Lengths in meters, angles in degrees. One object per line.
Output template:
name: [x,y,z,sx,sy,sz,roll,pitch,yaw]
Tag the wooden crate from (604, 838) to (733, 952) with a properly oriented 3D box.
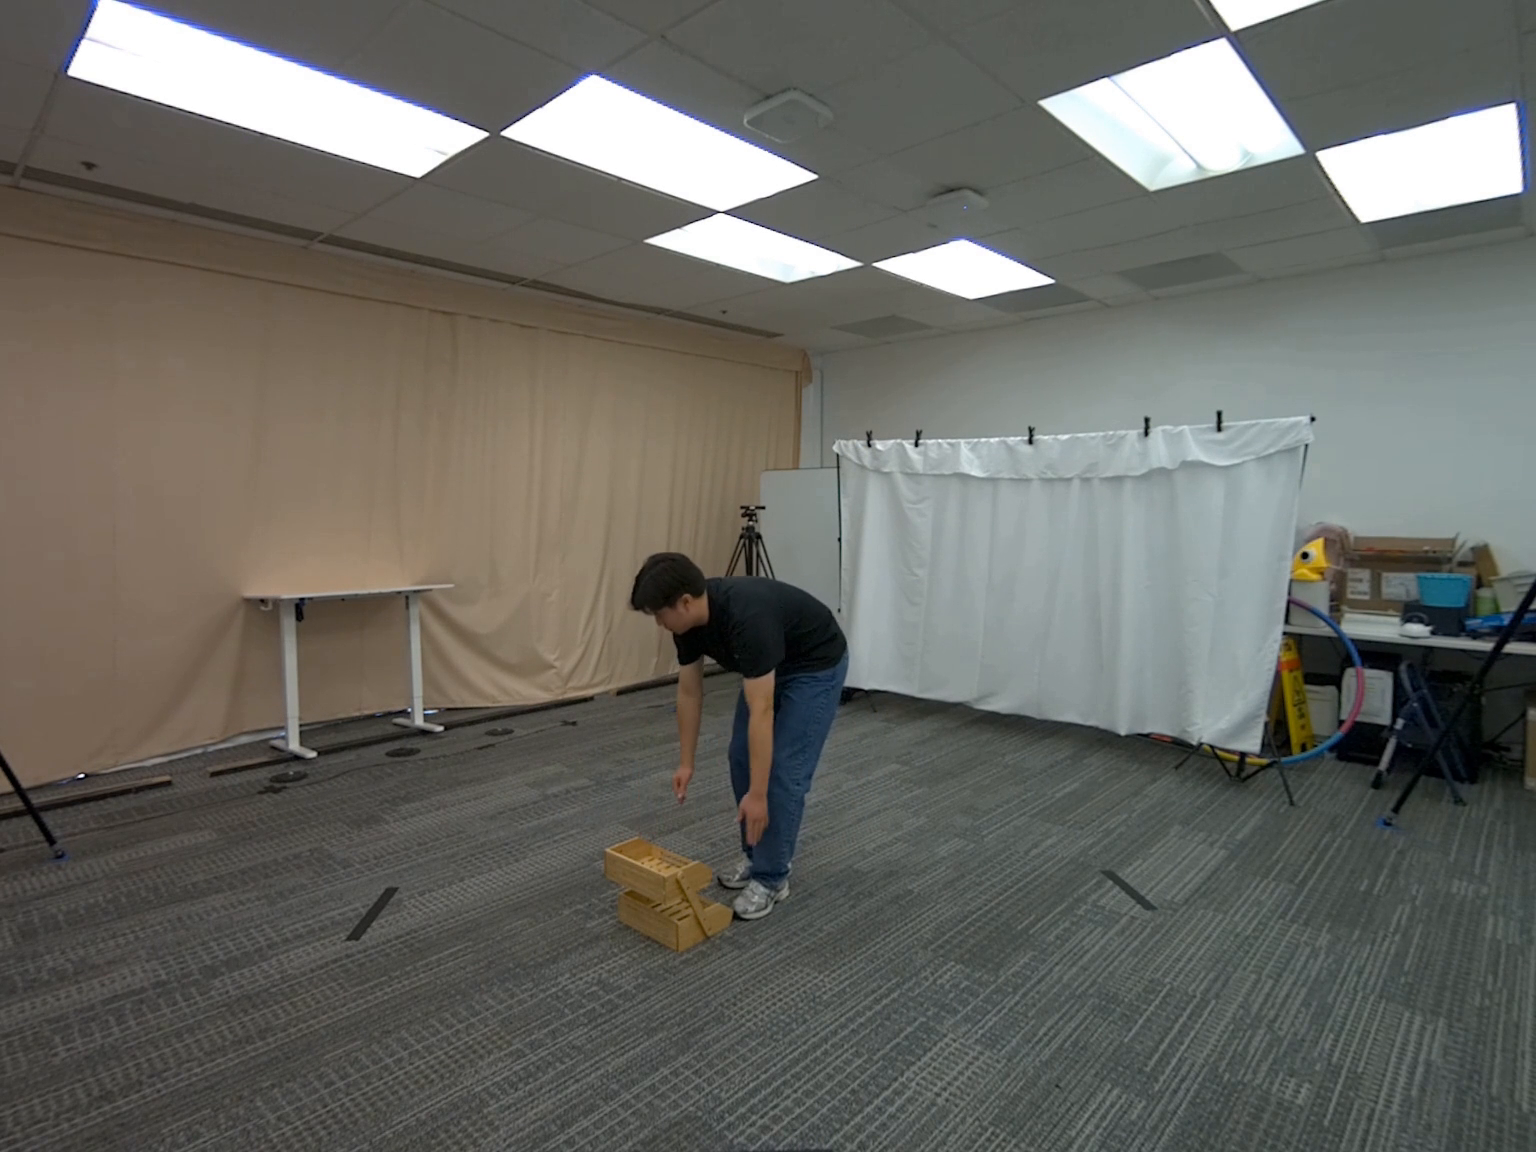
wooden crate: [-0.327,1.039,2.788,0.335,0.273,0.293,2,5,43]
